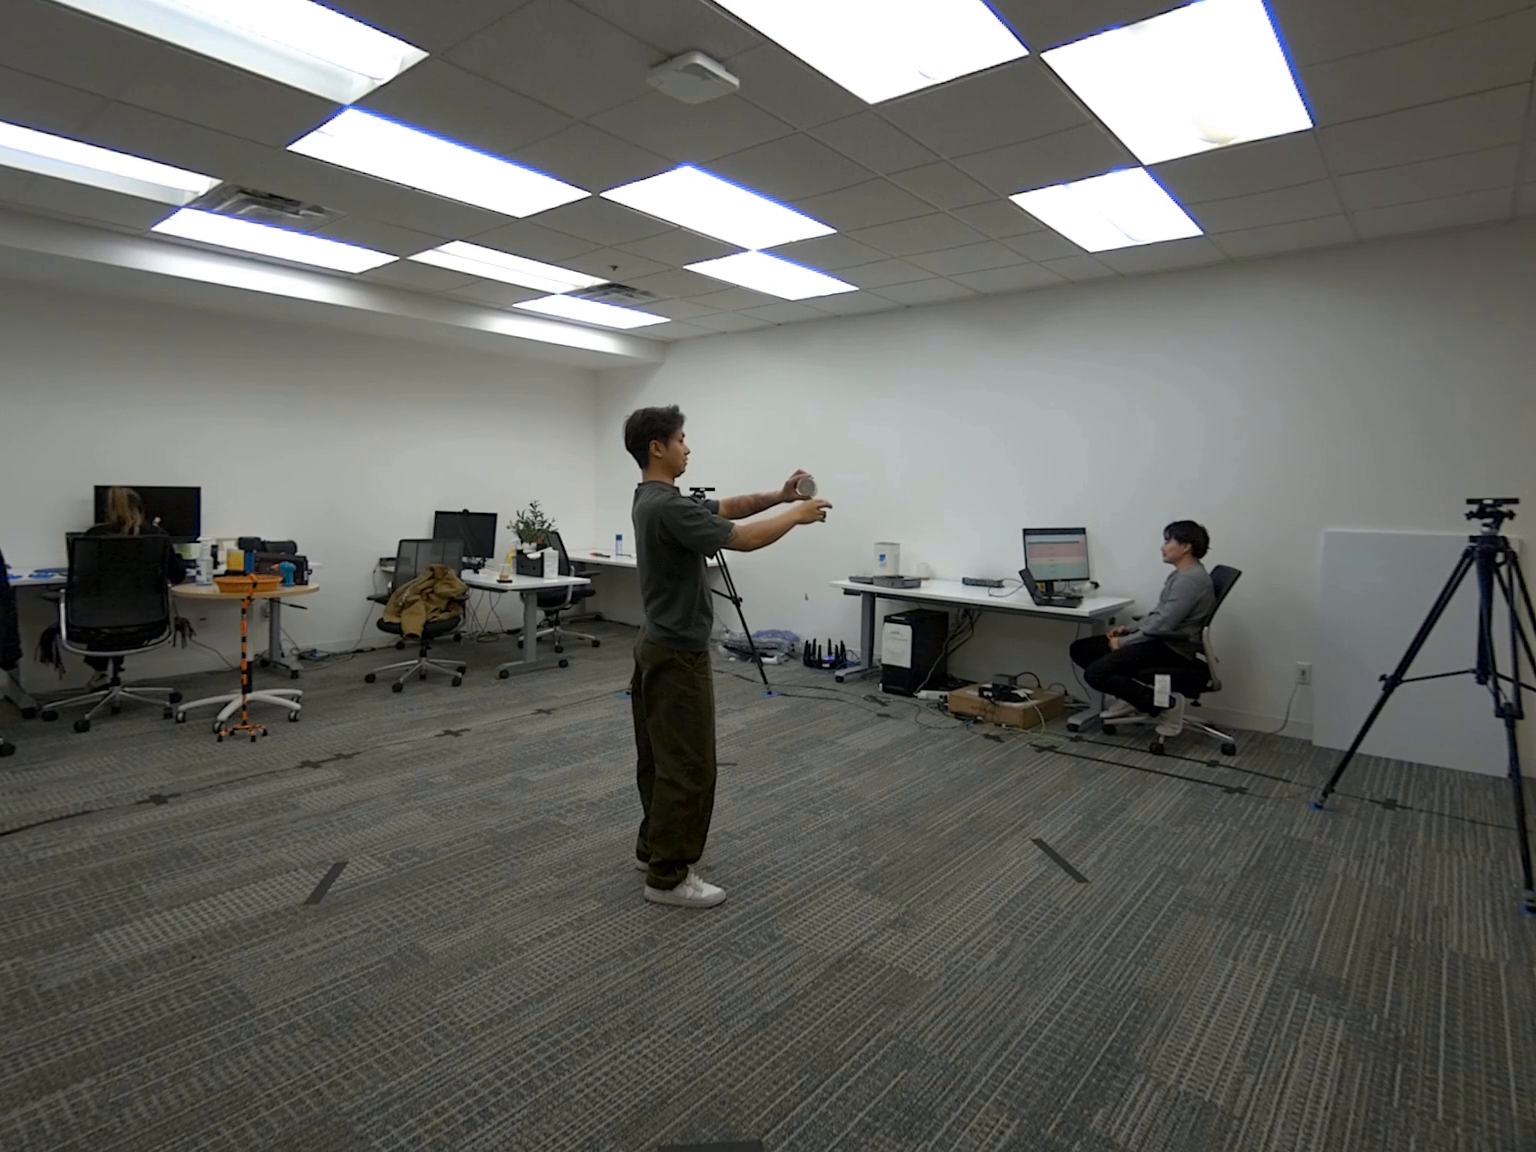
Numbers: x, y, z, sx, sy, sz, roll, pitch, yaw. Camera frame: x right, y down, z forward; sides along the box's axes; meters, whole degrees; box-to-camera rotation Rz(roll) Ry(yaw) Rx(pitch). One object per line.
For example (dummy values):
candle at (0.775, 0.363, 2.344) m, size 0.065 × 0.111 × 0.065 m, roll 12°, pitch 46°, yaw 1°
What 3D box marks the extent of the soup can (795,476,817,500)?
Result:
soup can at (0.139, -0.317, 3.057) m, size 0.067 × 0.067 × 0.121 m, roll 1°, pitch 5°, yaw 2°
